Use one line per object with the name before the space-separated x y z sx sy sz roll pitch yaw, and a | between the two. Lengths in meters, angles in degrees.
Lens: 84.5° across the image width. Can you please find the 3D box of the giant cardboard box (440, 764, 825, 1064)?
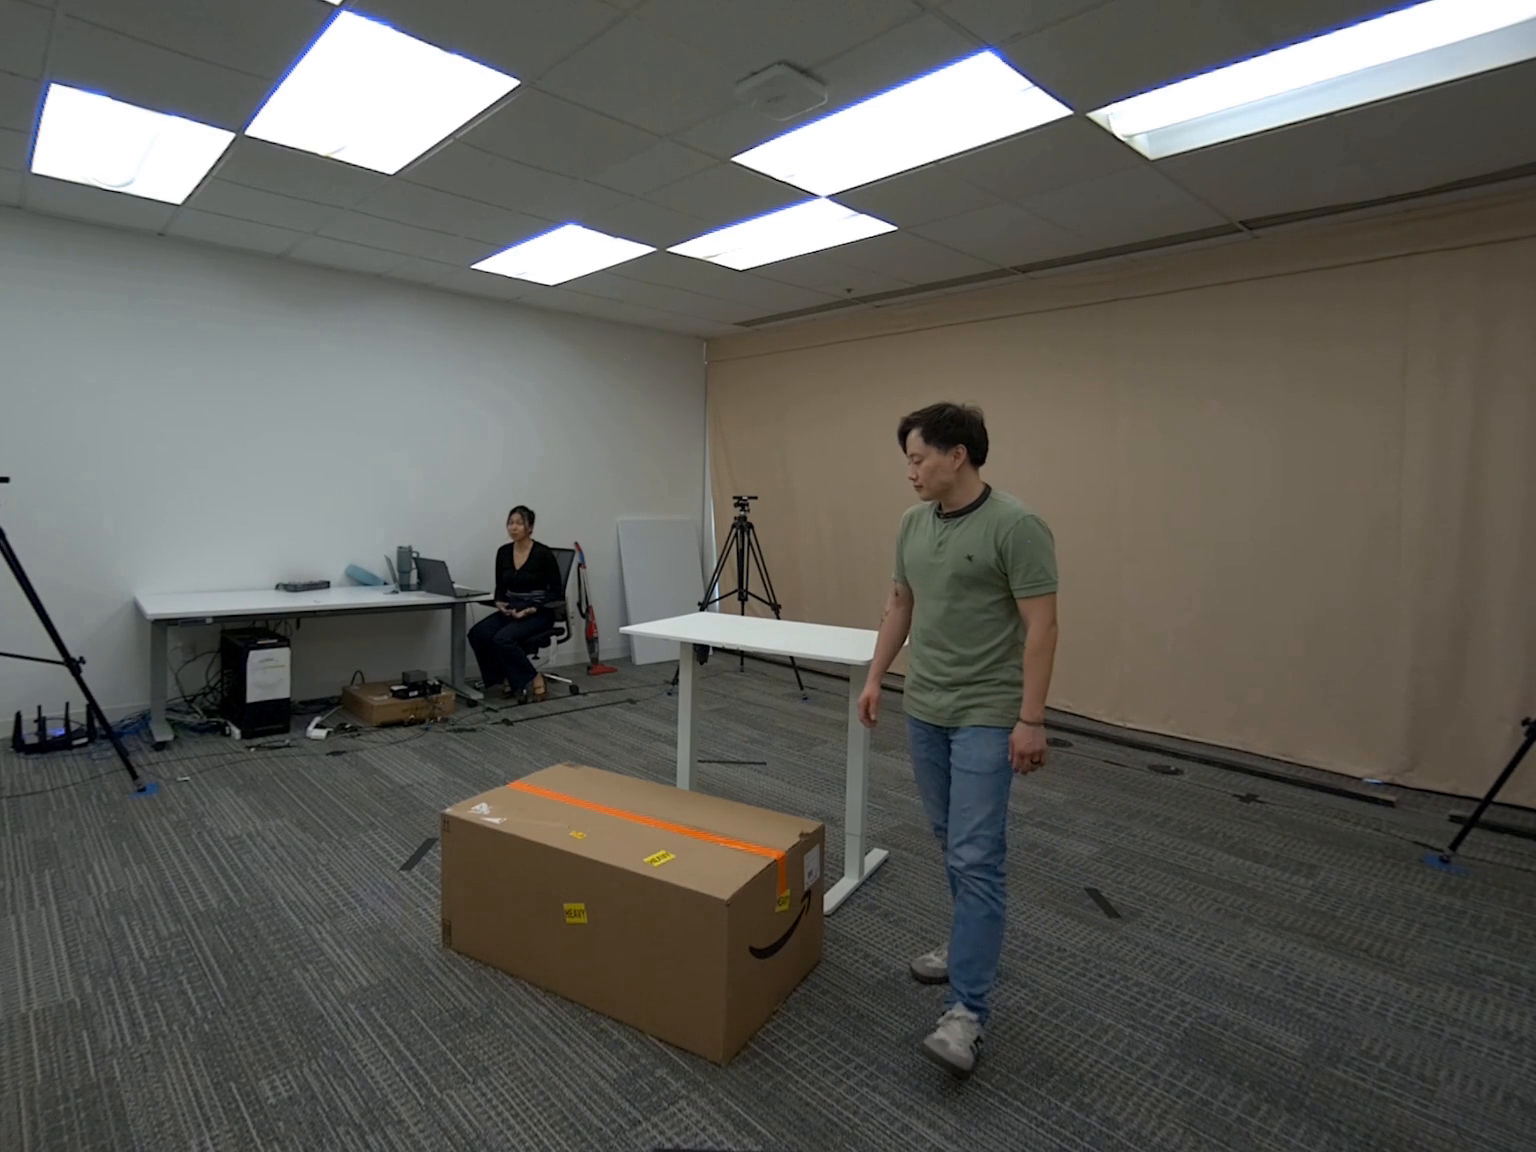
giant cardboard box | -0.418 0.935 2.548 1.049 0.424 0.567 5 7 30
